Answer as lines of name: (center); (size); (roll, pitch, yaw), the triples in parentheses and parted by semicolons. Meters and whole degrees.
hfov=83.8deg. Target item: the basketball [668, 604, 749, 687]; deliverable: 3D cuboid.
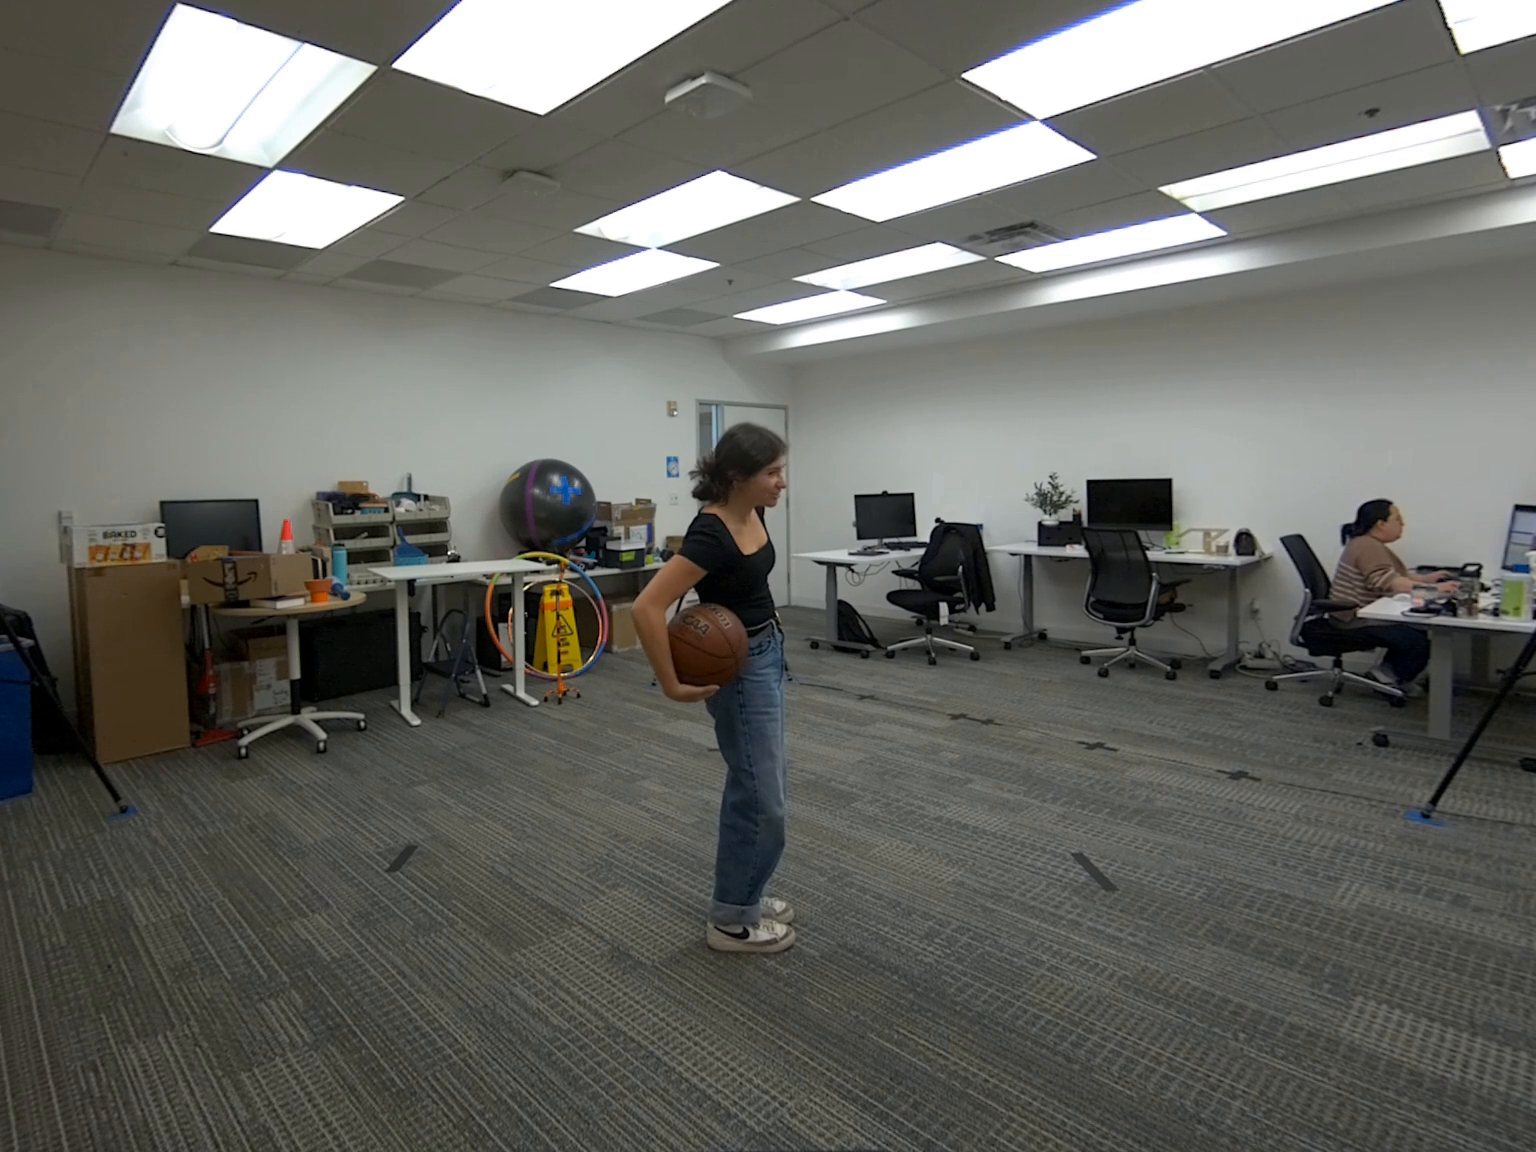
basketball: (-0.165, 0.193, 2.339); (0.236, 0.235, 0.237); (-1, 5, -2)
